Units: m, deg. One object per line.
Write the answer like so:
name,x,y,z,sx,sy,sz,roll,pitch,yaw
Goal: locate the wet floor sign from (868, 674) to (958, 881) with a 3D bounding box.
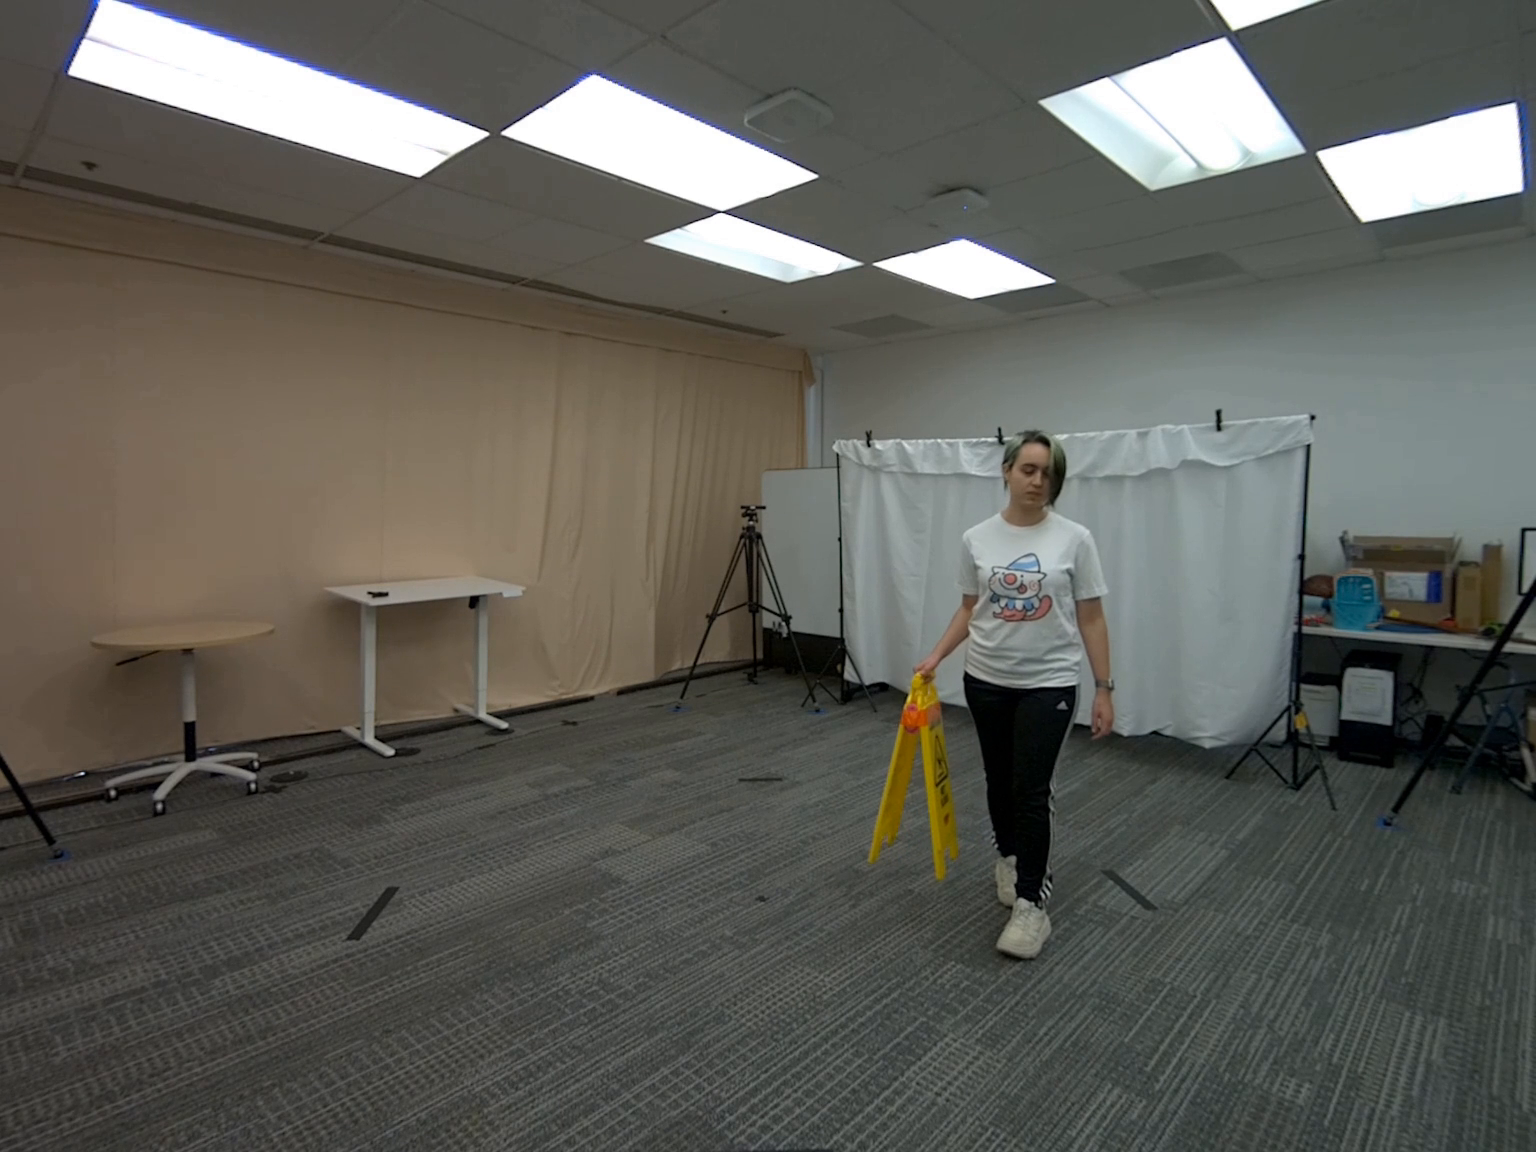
wet floor sign,0.518,0.649,2.868,0.297,0.646,0.275,2,0,27
